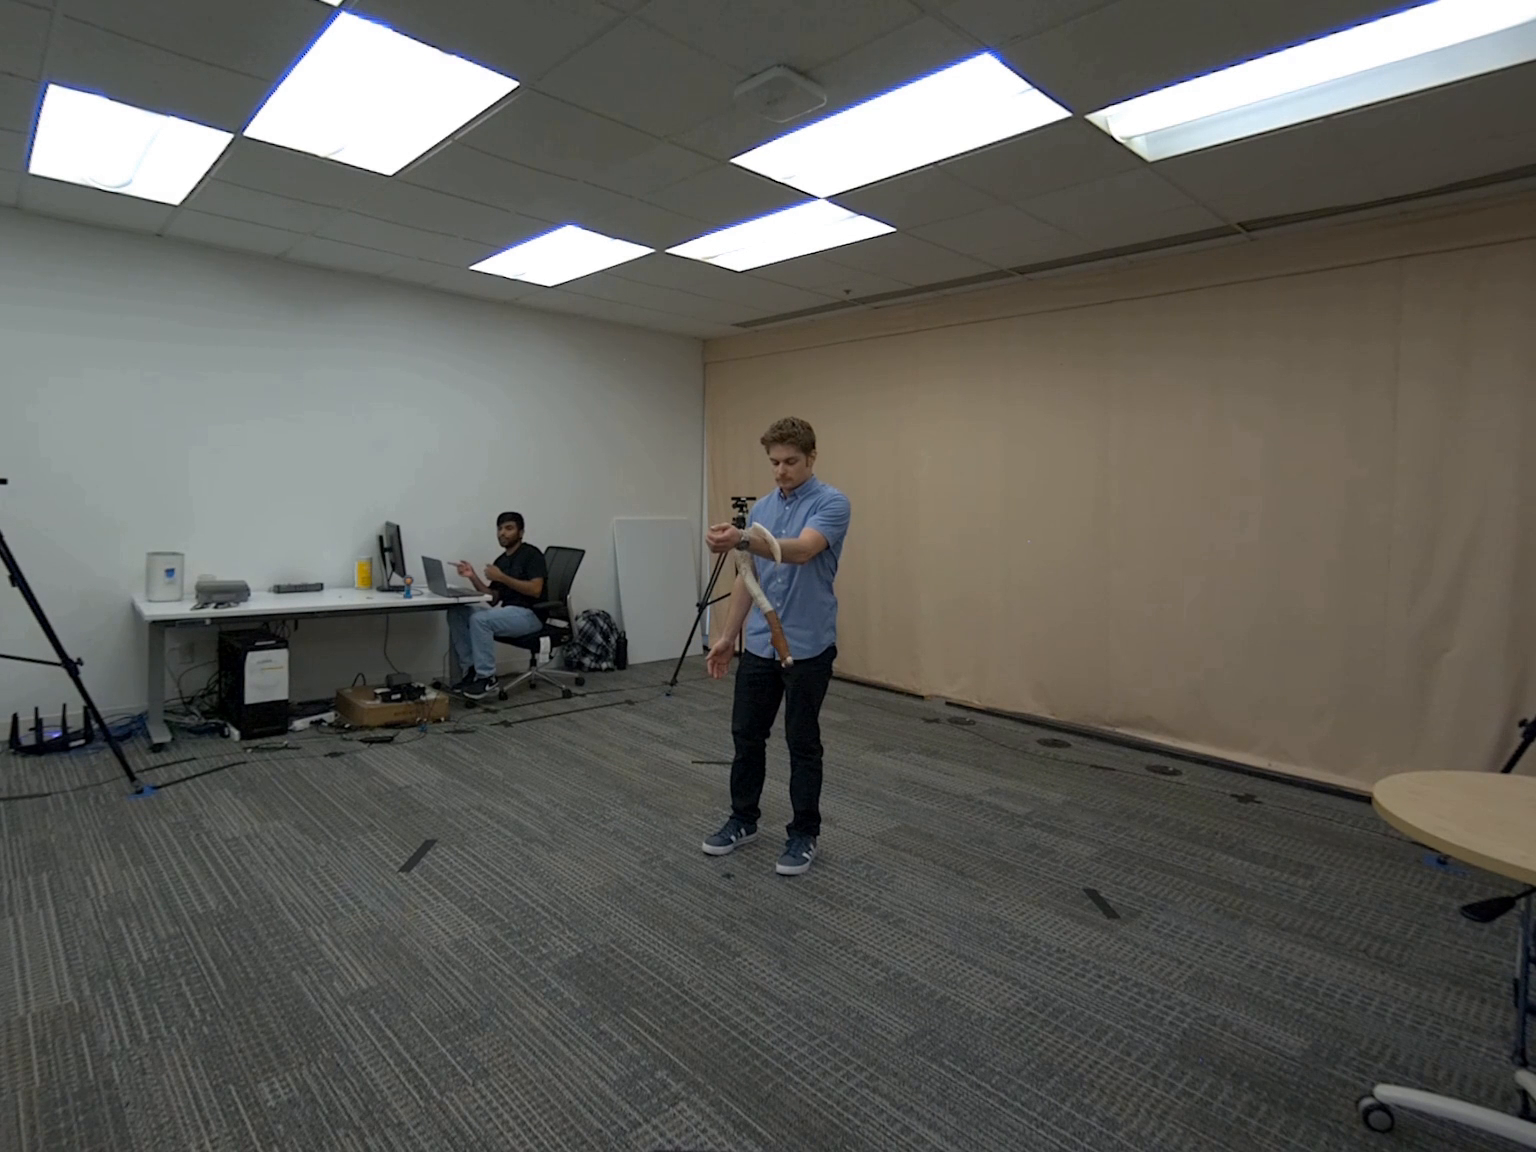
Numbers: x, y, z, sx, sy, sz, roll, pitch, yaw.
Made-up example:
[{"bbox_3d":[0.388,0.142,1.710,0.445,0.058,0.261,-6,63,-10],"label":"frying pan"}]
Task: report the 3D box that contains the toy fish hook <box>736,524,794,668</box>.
[{"bbox_3d":[0.001,0.059,2.841,0.047,0.517,0.224,-3,-28,-34],"label":"toy fish hook"}]
